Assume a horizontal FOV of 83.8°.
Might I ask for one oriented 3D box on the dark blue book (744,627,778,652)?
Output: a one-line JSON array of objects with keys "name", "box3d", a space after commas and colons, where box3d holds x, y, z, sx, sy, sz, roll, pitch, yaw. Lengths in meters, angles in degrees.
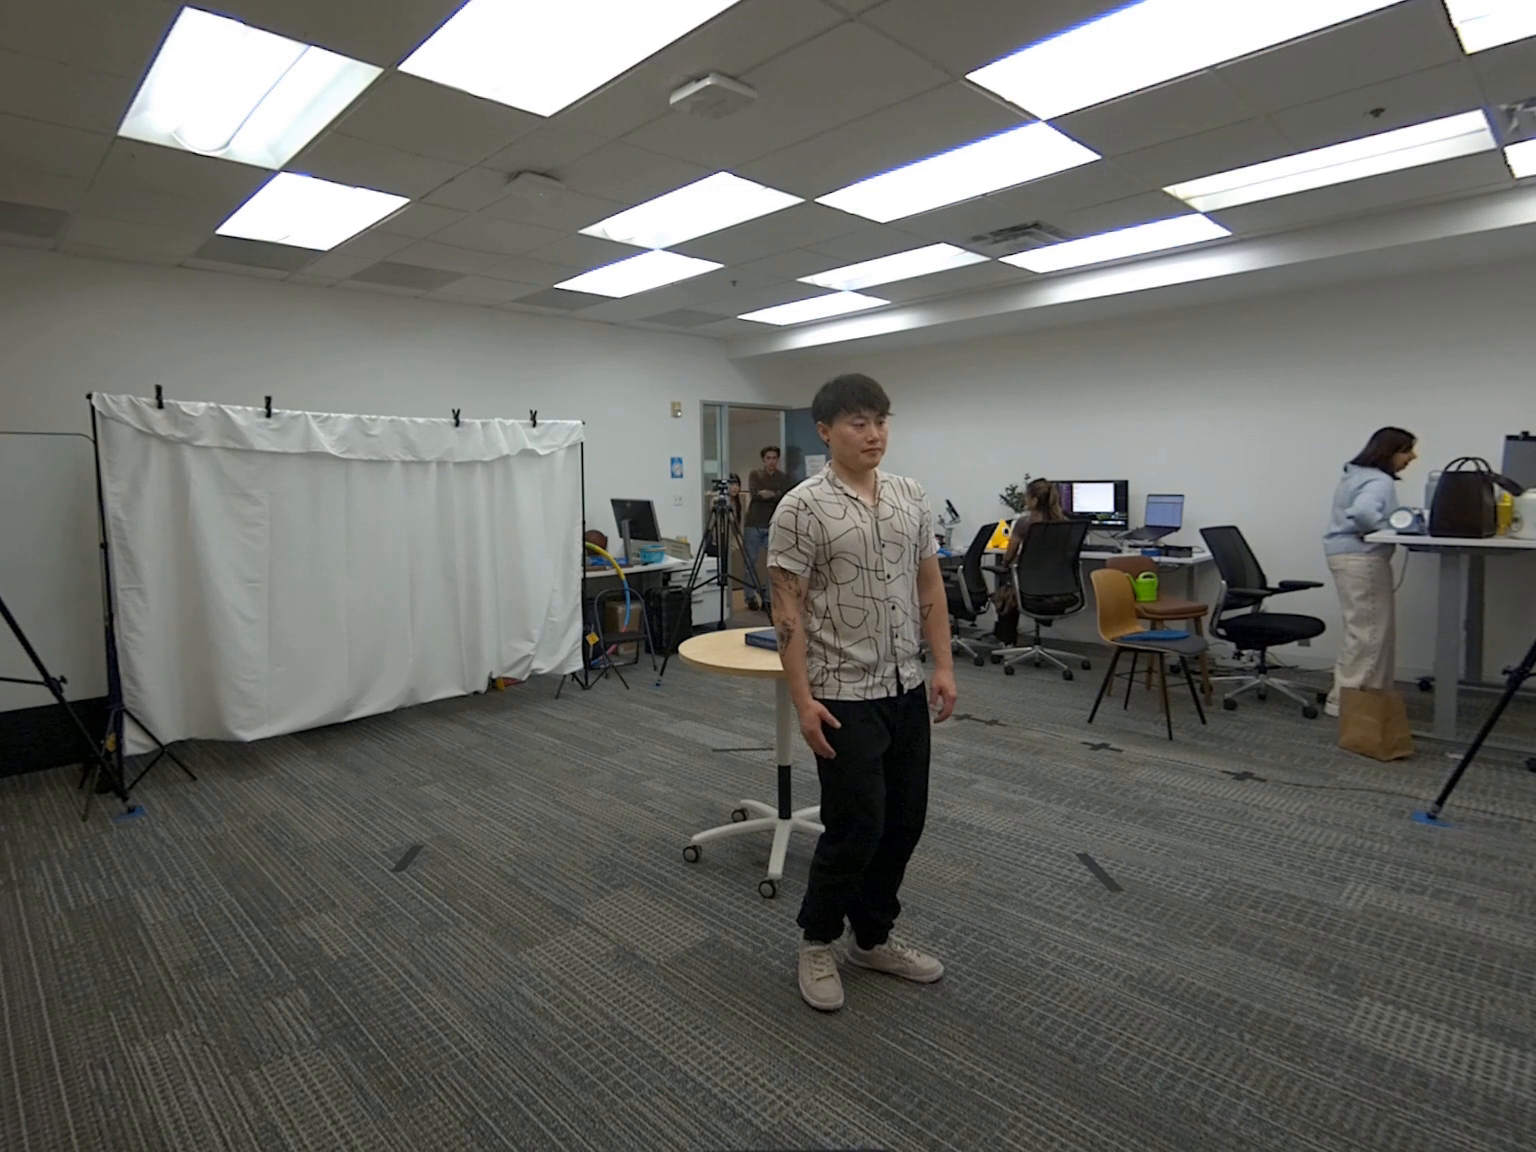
[{"name": "dark blue book", "box3d": [0.060, 0.243, 3.130, 0.159, 0.045, 0.253, -7, 9, -42]}]
